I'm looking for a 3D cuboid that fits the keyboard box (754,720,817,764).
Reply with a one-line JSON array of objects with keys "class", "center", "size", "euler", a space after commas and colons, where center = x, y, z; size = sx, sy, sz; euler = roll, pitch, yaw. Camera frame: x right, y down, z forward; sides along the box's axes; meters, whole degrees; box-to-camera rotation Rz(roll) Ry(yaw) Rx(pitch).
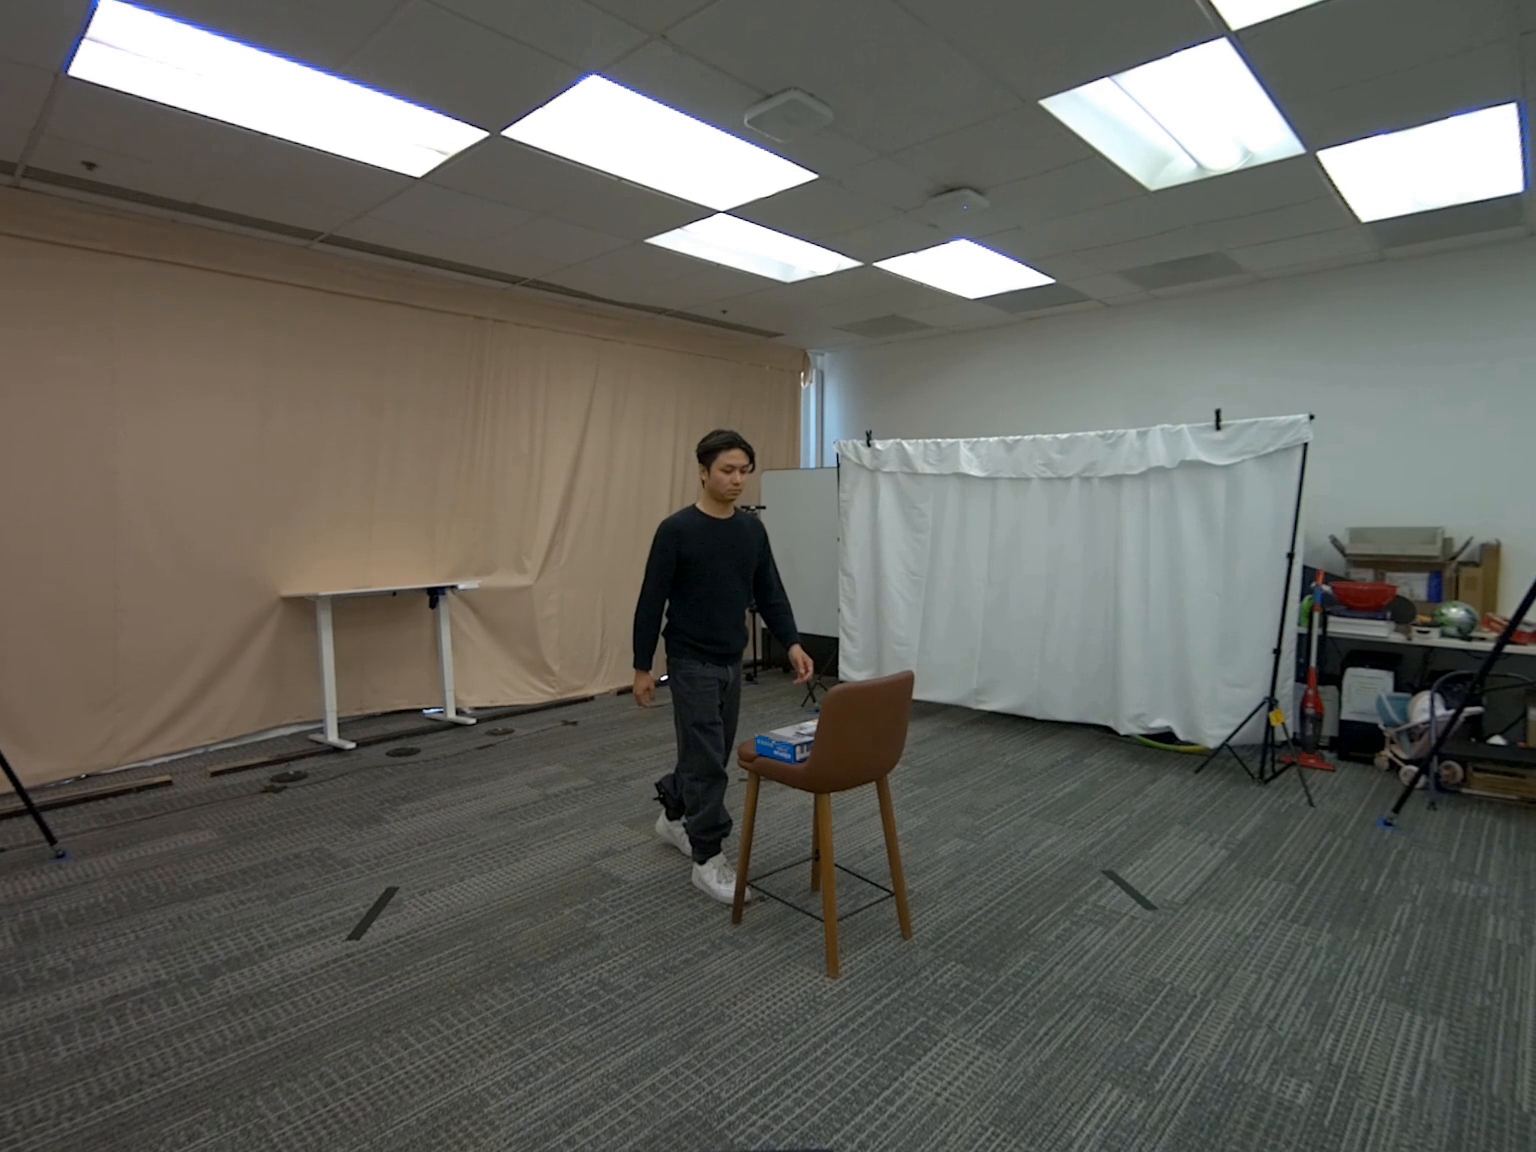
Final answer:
[{"class": "keyboard box", "center": [0.173, 0.511, 2.733], "size": [0.423, 0.059, 0.182], "euler": [-5, 4, -43]}]
